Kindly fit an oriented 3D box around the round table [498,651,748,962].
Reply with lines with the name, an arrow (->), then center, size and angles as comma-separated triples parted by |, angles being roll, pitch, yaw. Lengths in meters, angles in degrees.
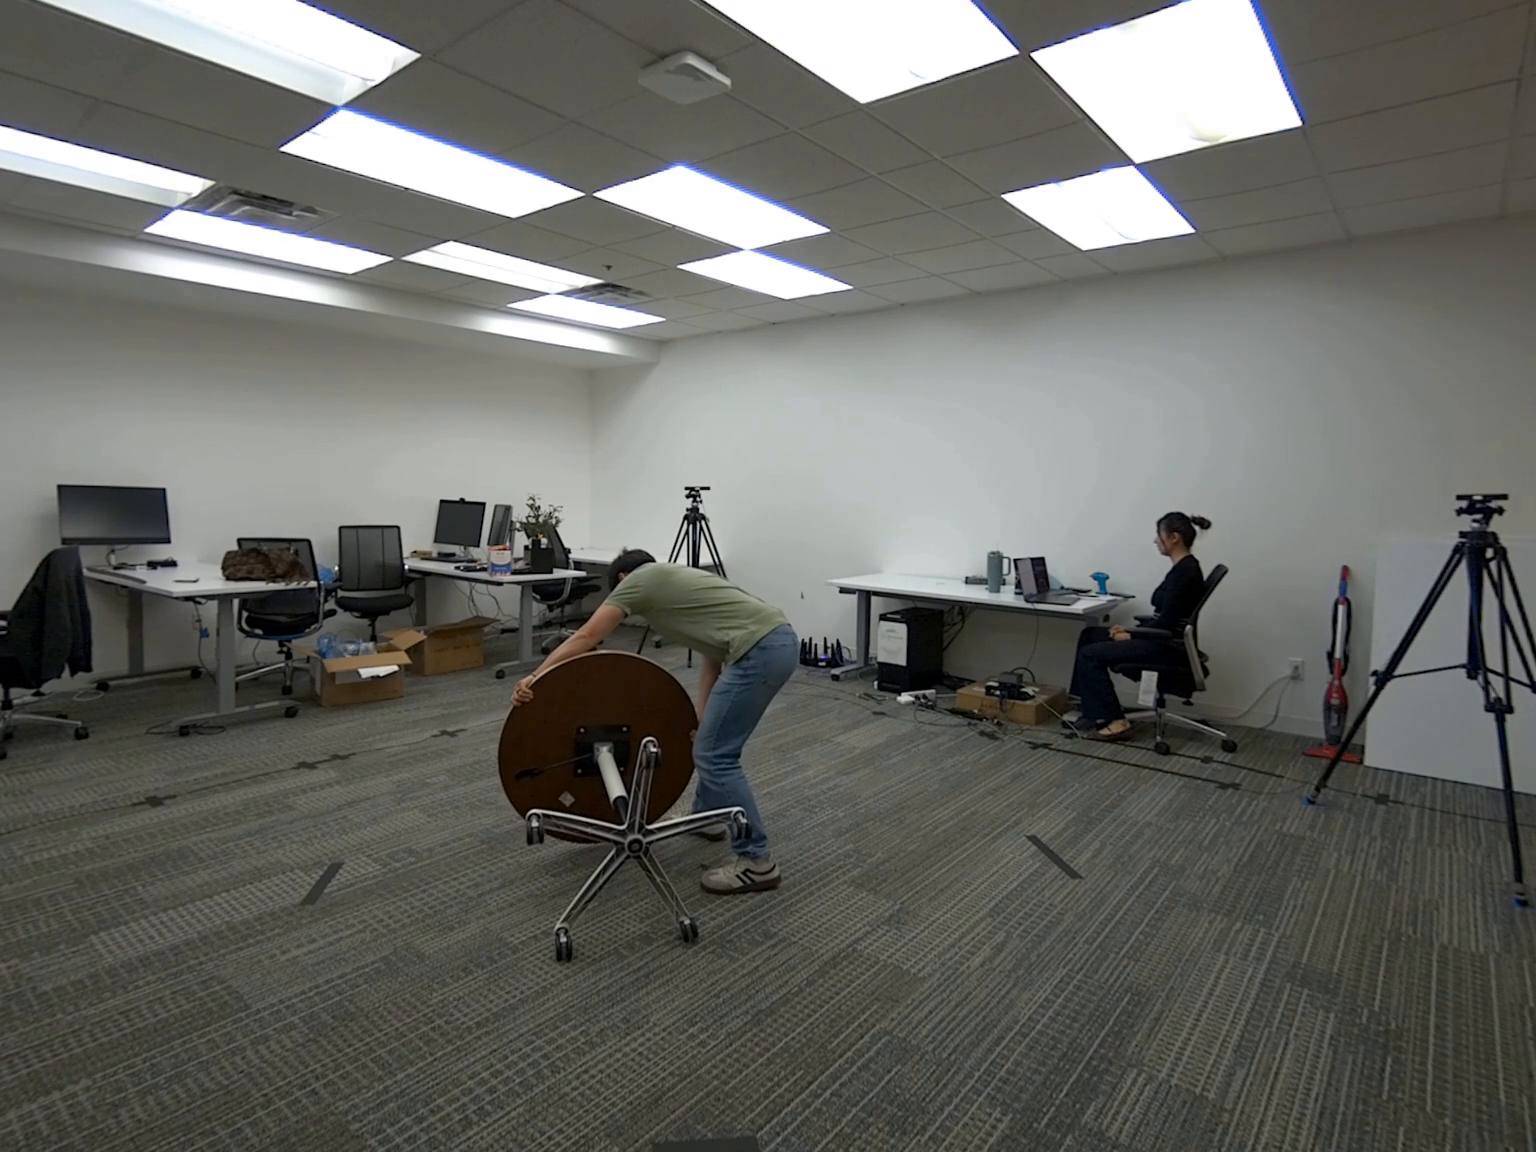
round table -> -0.516, 0.743, 2.852 | 0.750, 0.756, 0.817 | -1, 12, -19
